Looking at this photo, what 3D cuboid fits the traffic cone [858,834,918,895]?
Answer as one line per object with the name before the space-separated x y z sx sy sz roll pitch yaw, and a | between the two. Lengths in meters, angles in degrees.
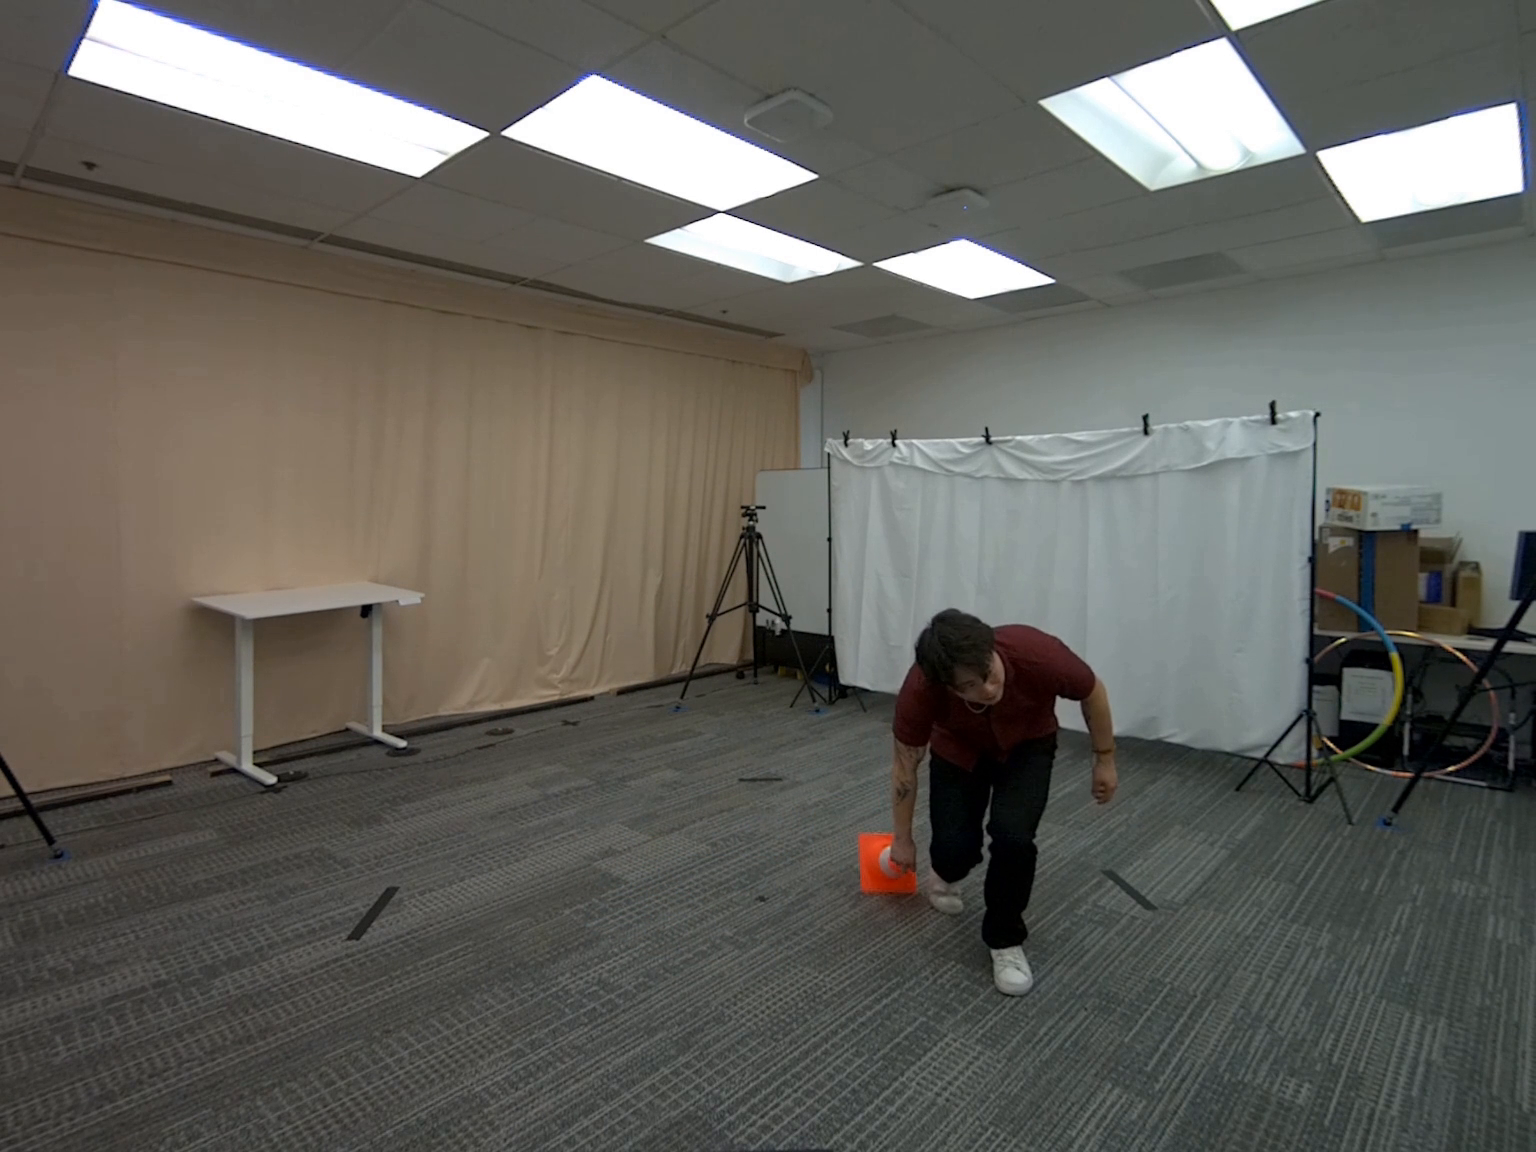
traffic cone | 0.450 0.984 2.894 0.205 0.206 0.380 1 -19 -2
